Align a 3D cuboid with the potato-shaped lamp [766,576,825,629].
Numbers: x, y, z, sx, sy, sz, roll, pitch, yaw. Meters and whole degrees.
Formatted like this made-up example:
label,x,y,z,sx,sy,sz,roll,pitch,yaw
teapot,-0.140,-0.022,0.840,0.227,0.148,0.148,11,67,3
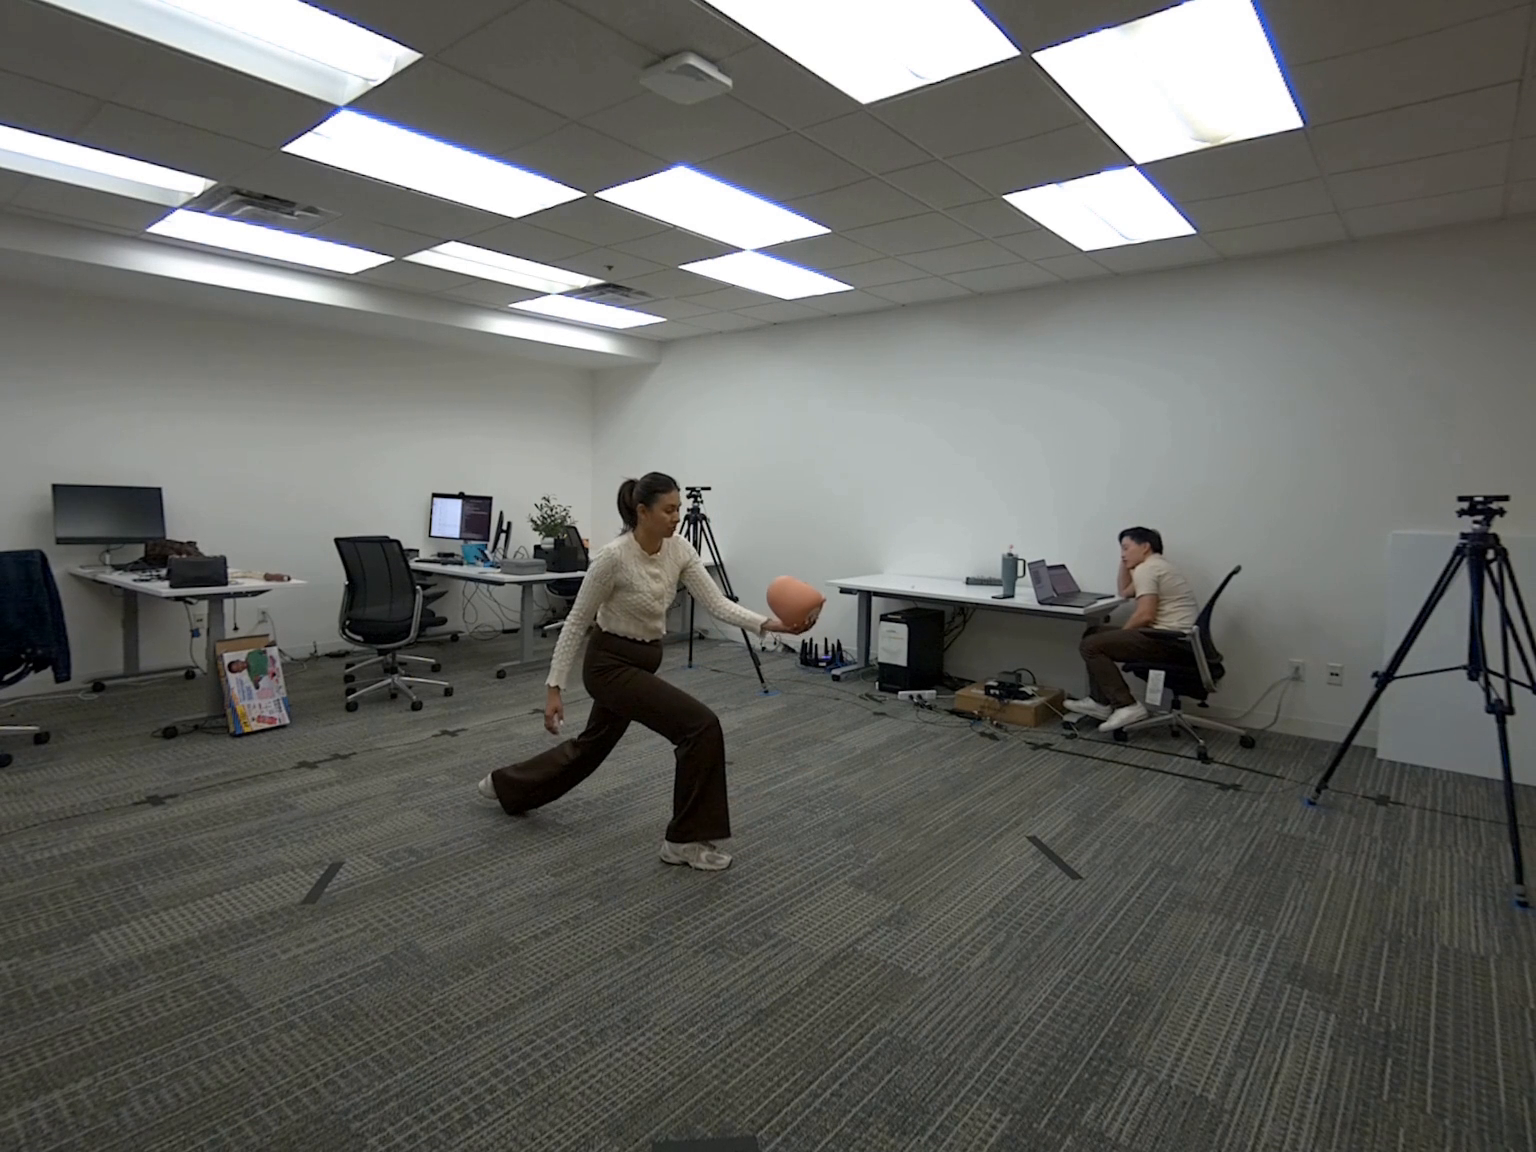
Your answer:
label,x,y,z,sx,sy,sz,roll,pitch,yaw
potato-shaped lamp,0.084,0.089,3.092,0.169,0.162,0.205,-26,58,-38
